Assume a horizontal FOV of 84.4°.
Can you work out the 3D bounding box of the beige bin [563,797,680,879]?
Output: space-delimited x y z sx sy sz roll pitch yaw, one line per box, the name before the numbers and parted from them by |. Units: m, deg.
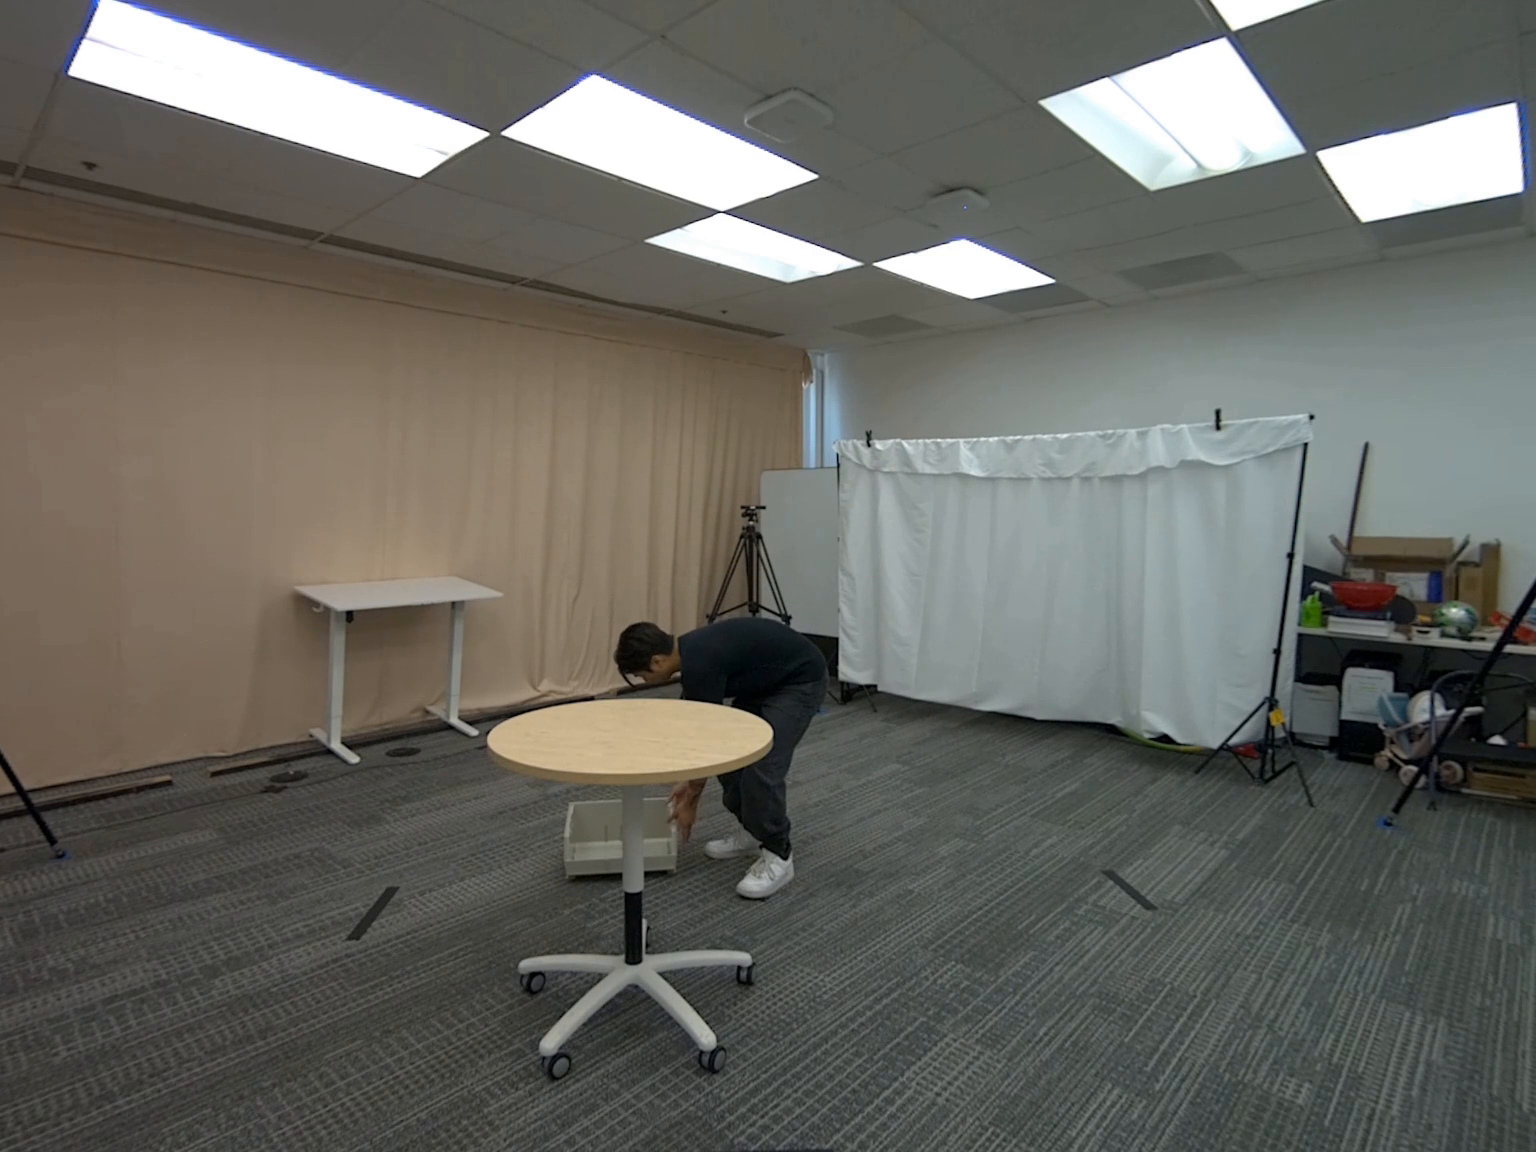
beige bin | -0.580 1.037 3.318 0.419 0.188 0.381 -2 4 -7
